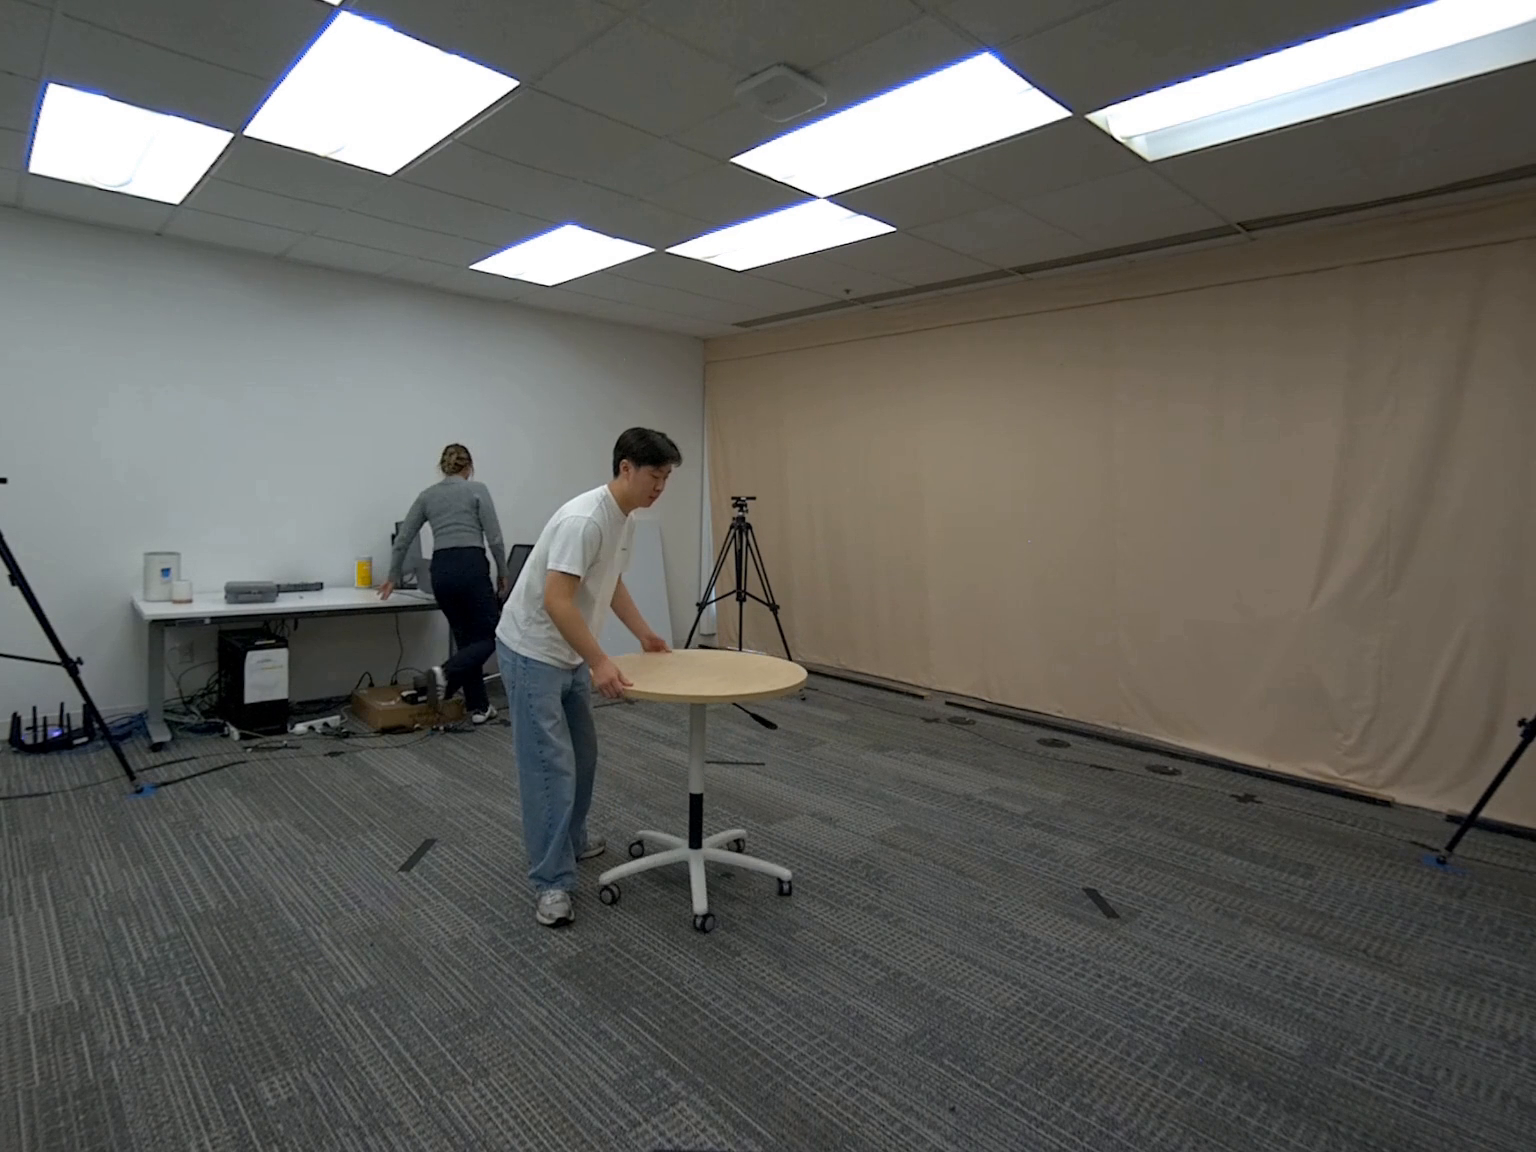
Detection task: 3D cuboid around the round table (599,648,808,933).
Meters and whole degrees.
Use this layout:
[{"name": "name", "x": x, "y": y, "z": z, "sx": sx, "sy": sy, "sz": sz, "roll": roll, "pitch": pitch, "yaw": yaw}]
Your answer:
[{"name": "round table", "x": -0.259, "y": 0.719, "z": 2.985, "sx": 0.784, "sy": 0.784, "sz": 0.788, "roll": 1, "pitch": 4, "yaw": -1}]
